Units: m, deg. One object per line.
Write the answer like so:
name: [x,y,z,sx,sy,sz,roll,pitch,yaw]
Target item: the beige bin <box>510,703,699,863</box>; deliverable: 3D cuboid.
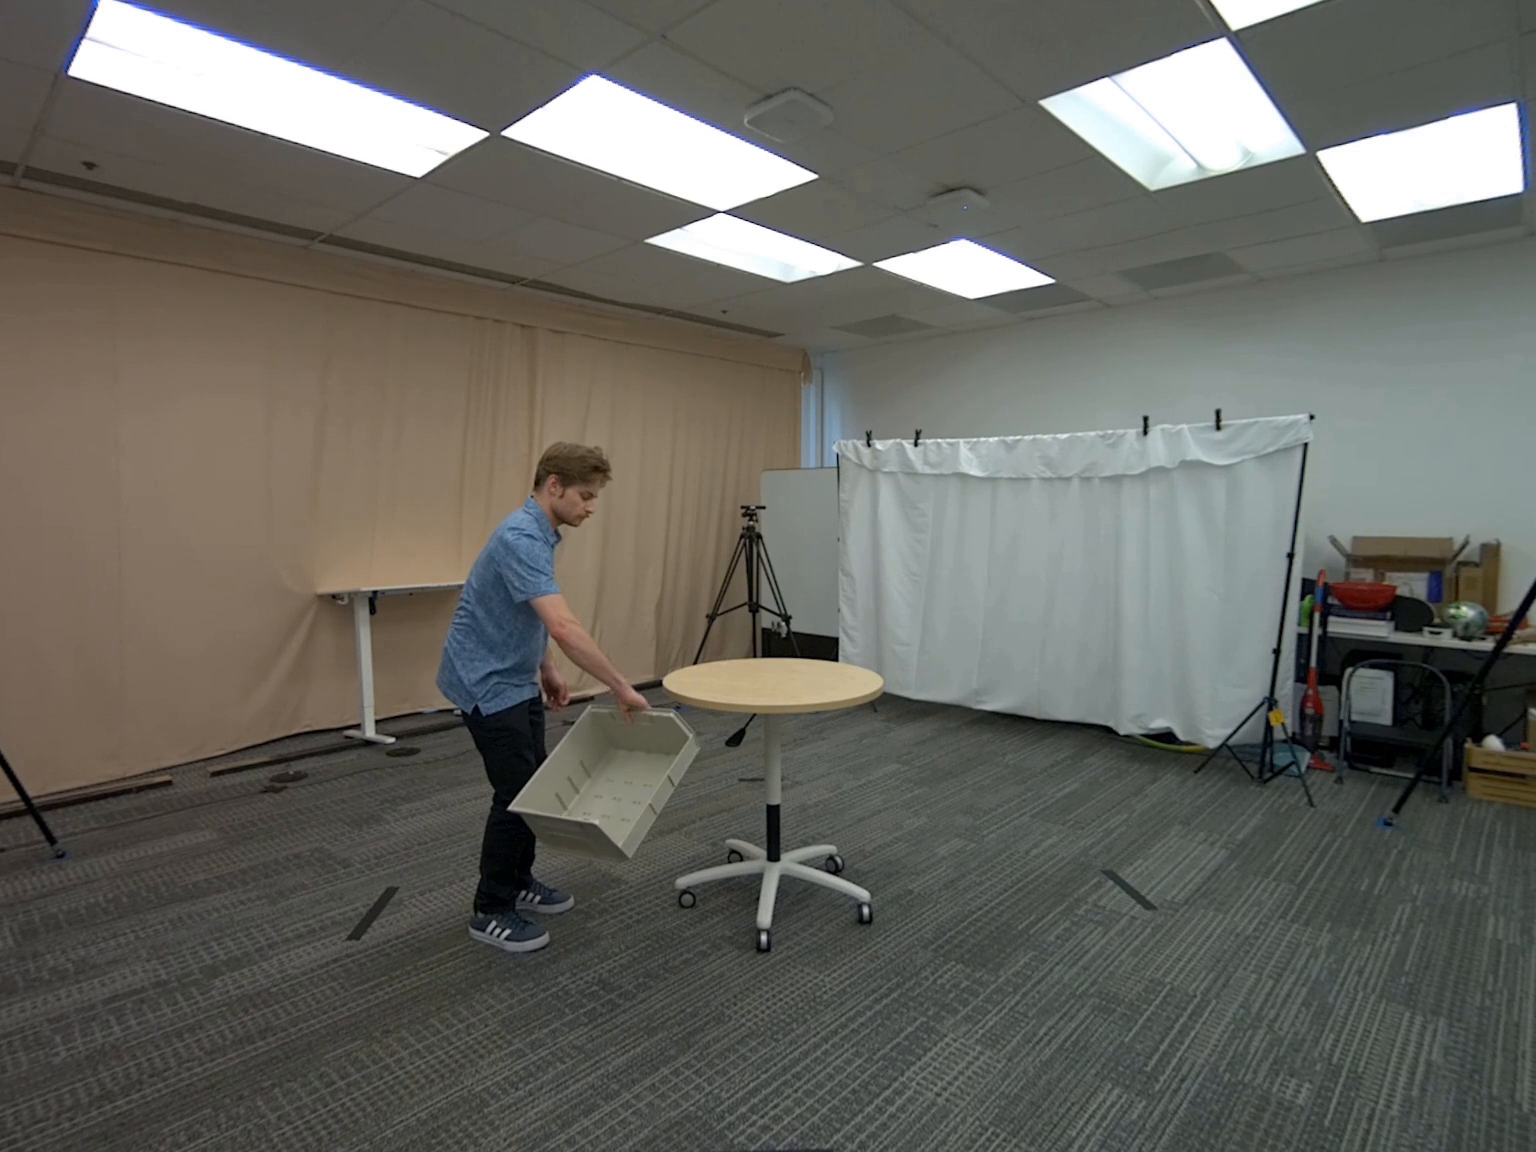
beige bin: [-0.448,0.598,2.438,0.388,0.184,0.421,-5,34,34]
